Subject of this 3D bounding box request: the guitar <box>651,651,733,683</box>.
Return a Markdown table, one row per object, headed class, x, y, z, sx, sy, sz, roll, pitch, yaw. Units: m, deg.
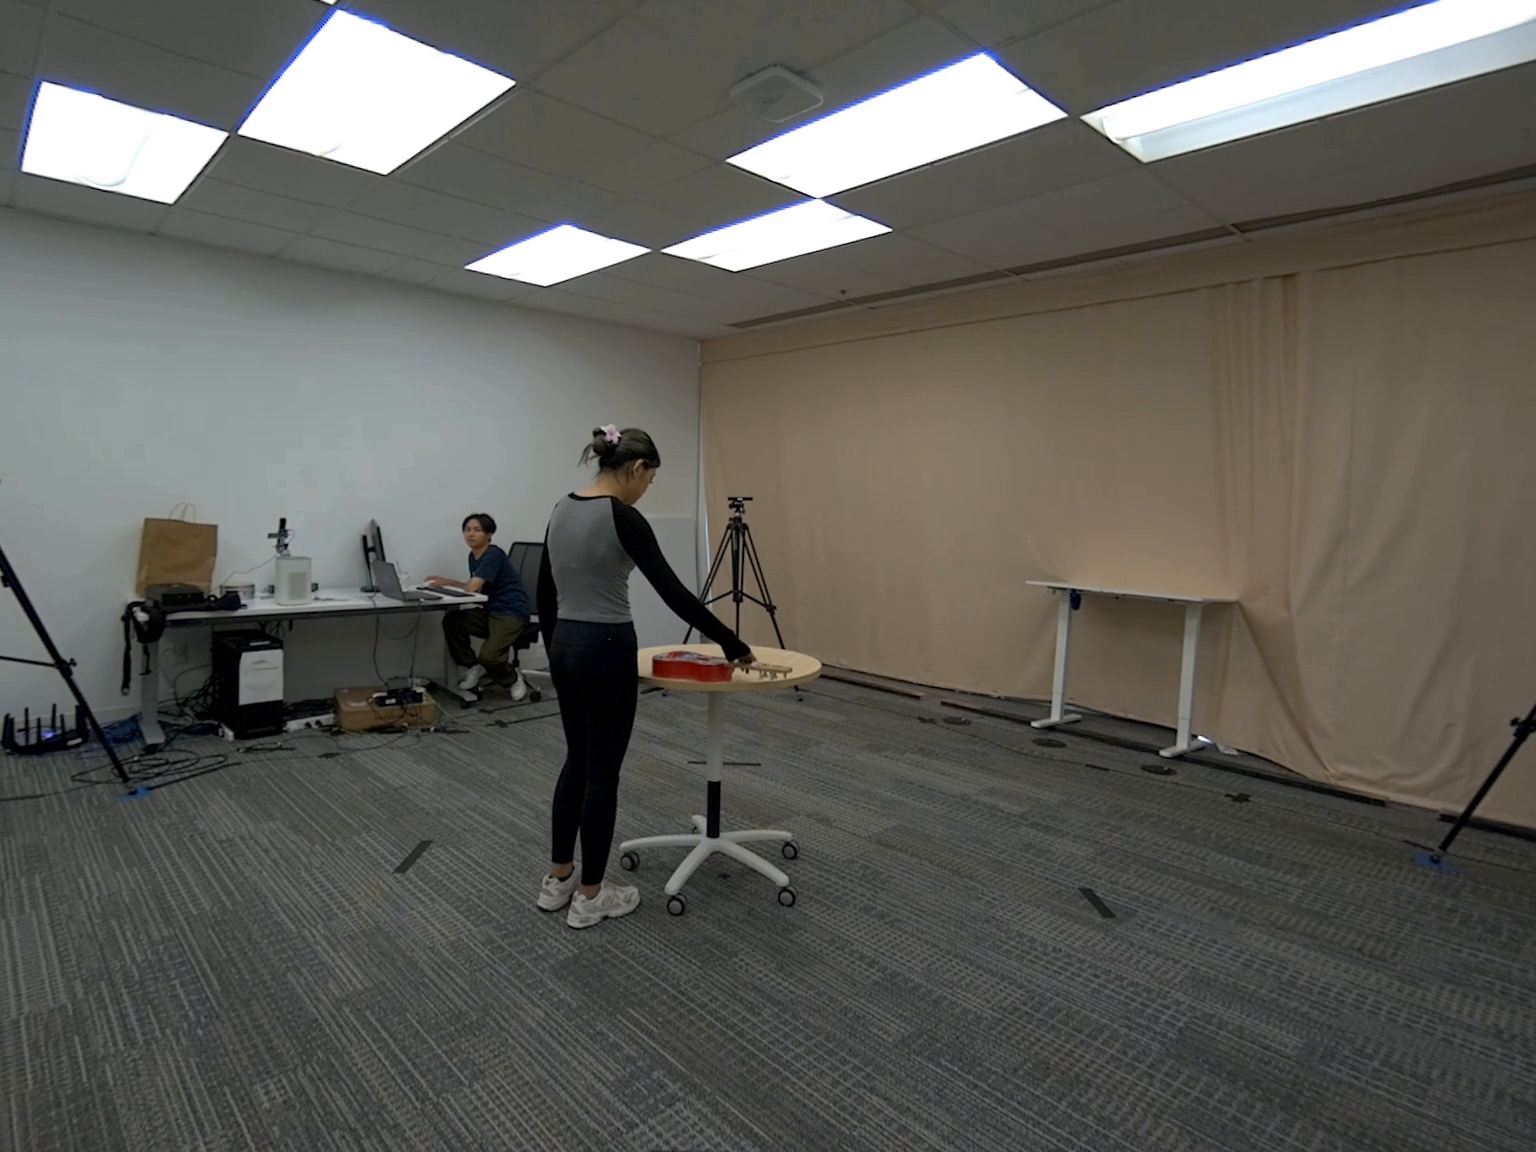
| class | x | y | z | sx | sy | sz | roll | pitch | yaw |
| --- | --- | --- | --- | --- | --- | --- | --- | --- | --- |
| guitar | -0.170 | 0.311 | 2.743 | 0.510 | 0.070 | 0.189 | 5 | 6 | 40 |
